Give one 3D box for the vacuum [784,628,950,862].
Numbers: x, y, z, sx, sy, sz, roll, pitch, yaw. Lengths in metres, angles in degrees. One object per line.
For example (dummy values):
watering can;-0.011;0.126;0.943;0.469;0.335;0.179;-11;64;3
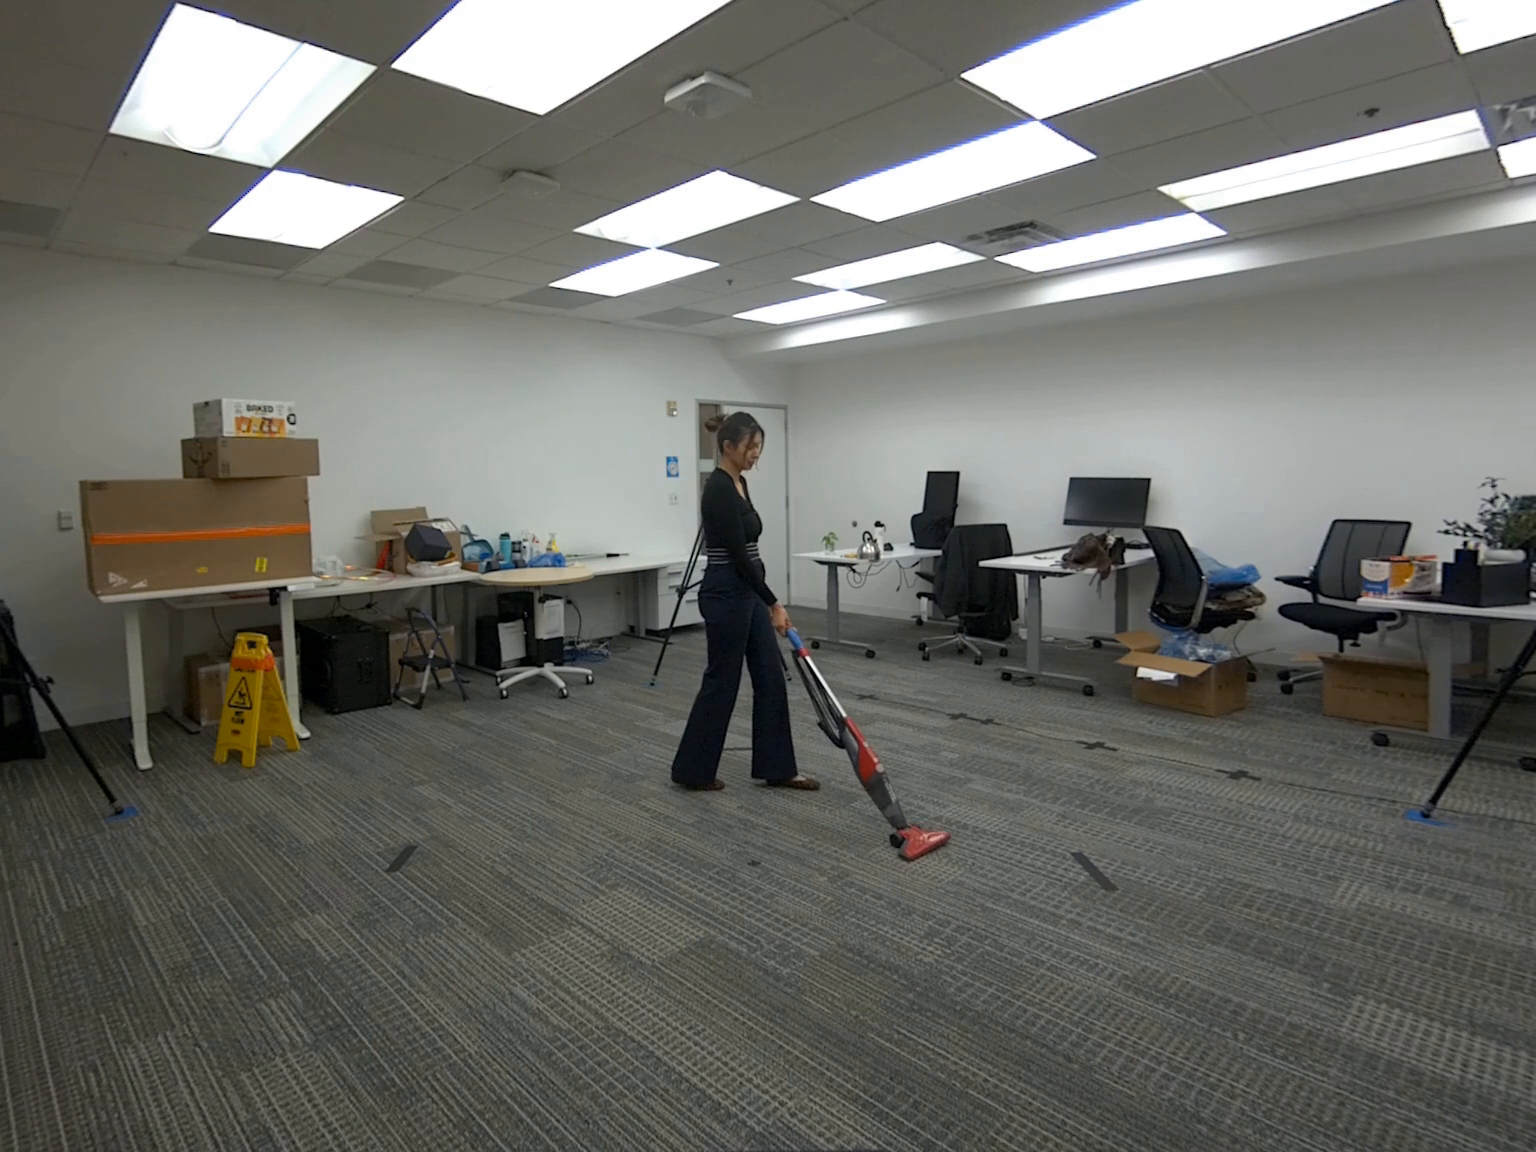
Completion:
vacuum;0.308;0.605;3.447;0.246;1.082;0.143;-4;-38;-44
